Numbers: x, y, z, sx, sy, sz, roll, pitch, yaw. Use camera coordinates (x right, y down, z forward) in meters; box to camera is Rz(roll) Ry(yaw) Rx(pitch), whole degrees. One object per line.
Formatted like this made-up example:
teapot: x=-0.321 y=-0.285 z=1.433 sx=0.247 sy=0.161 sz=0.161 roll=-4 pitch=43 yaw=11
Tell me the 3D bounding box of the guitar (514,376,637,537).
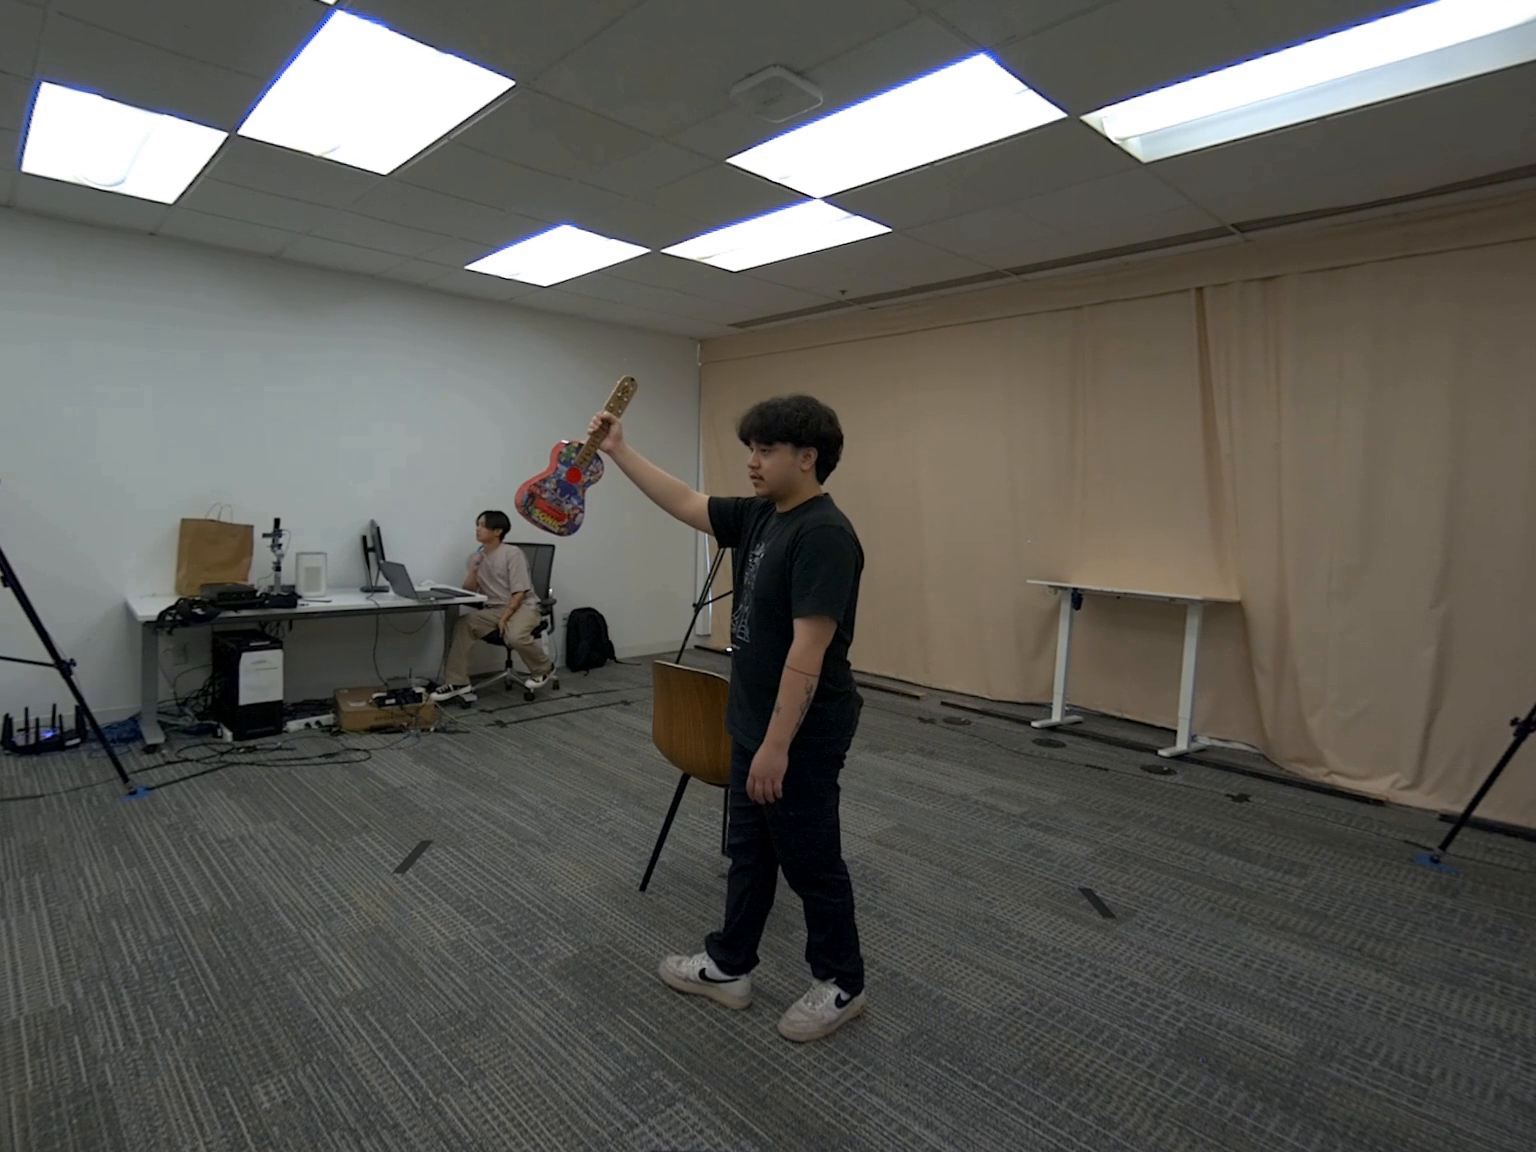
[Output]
guitar: x=-0.509 y=-0.331 z=2.400 sx=0.188 sy=0.498 sz=0.072 roll=42 pitch=-12 yaw=-27
